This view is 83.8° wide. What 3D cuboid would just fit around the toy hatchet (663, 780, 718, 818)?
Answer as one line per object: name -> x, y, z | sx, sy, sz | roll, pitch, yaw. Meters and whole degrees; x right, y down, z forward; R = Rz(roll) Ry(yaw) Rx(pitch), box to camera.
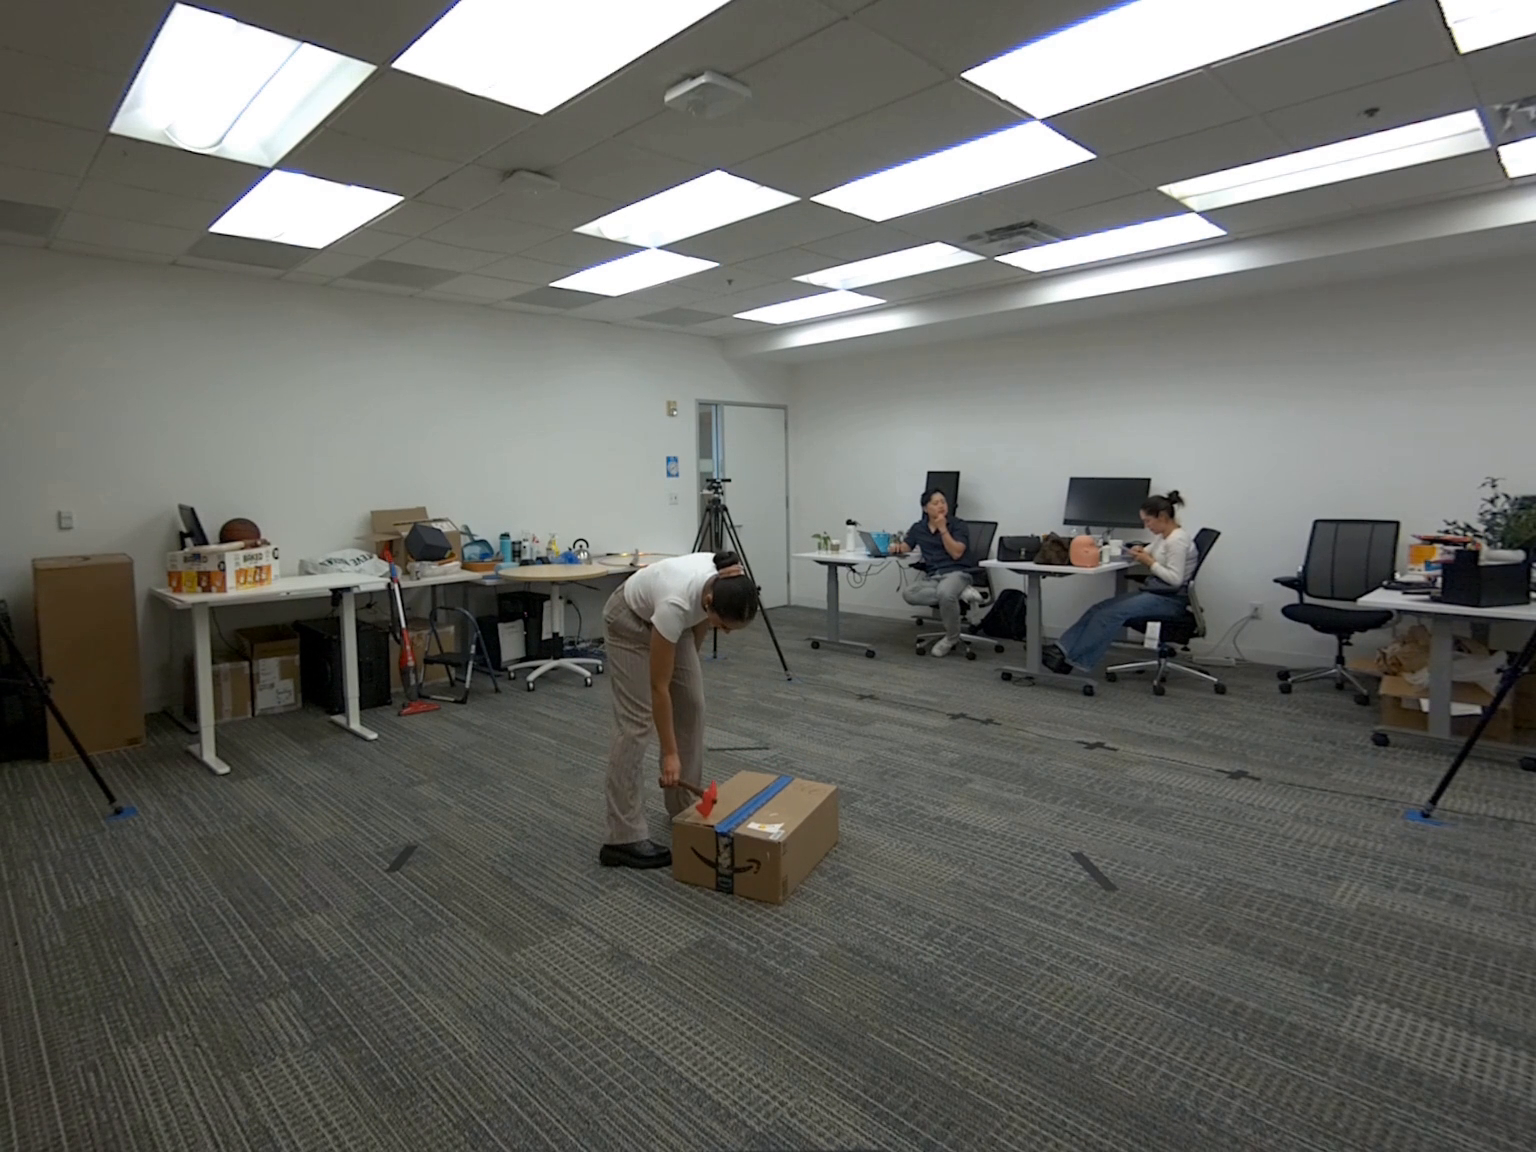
toy hatchet -> -0.280, 0.786, 3.043 | 0.276, 0.132, 0.028 | -9, -11, 40
